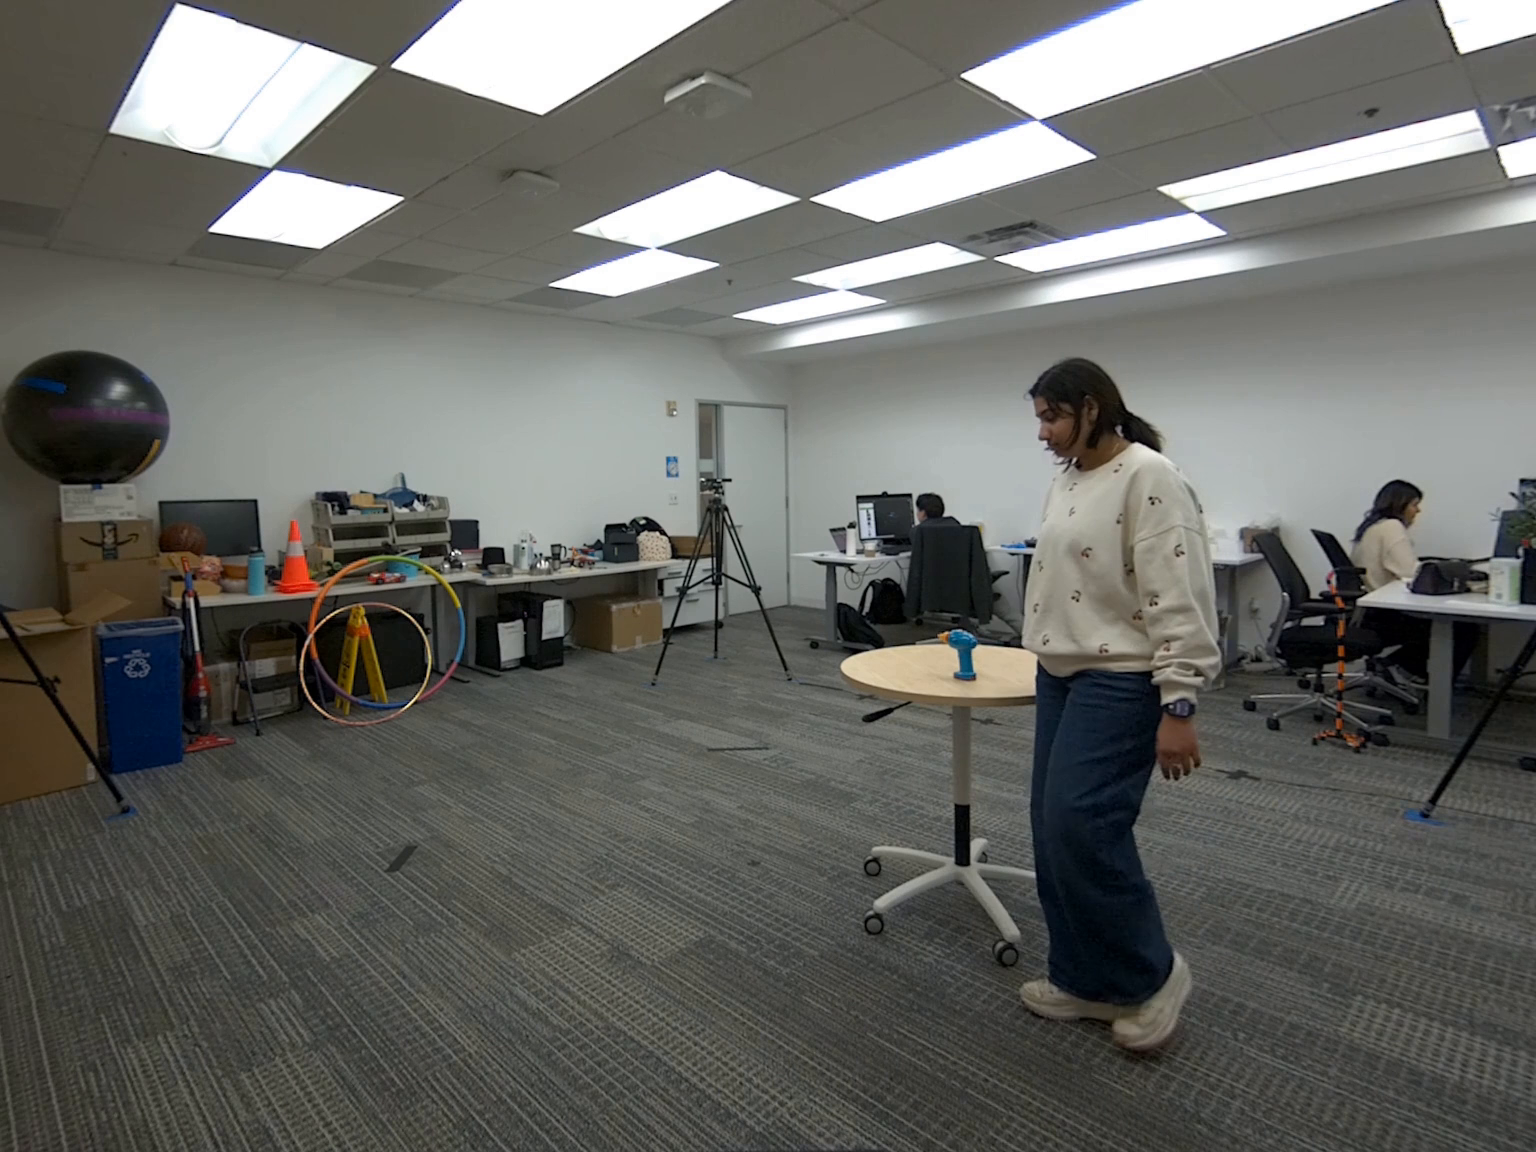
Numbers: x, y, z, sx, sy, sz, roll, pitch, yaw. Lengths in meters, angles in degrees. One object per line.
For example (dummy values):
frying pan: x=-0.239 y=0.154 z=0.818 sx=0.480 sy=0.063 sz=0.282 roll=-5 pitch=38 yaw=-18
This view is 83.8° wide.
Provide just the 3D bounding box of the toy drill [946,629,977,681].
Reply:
toy drill: x=0.583 y=0.234 z=2.602 sx=0.060 sy=0.145 sz=0.174 roll=-4 pitch=5 yaw=-26
